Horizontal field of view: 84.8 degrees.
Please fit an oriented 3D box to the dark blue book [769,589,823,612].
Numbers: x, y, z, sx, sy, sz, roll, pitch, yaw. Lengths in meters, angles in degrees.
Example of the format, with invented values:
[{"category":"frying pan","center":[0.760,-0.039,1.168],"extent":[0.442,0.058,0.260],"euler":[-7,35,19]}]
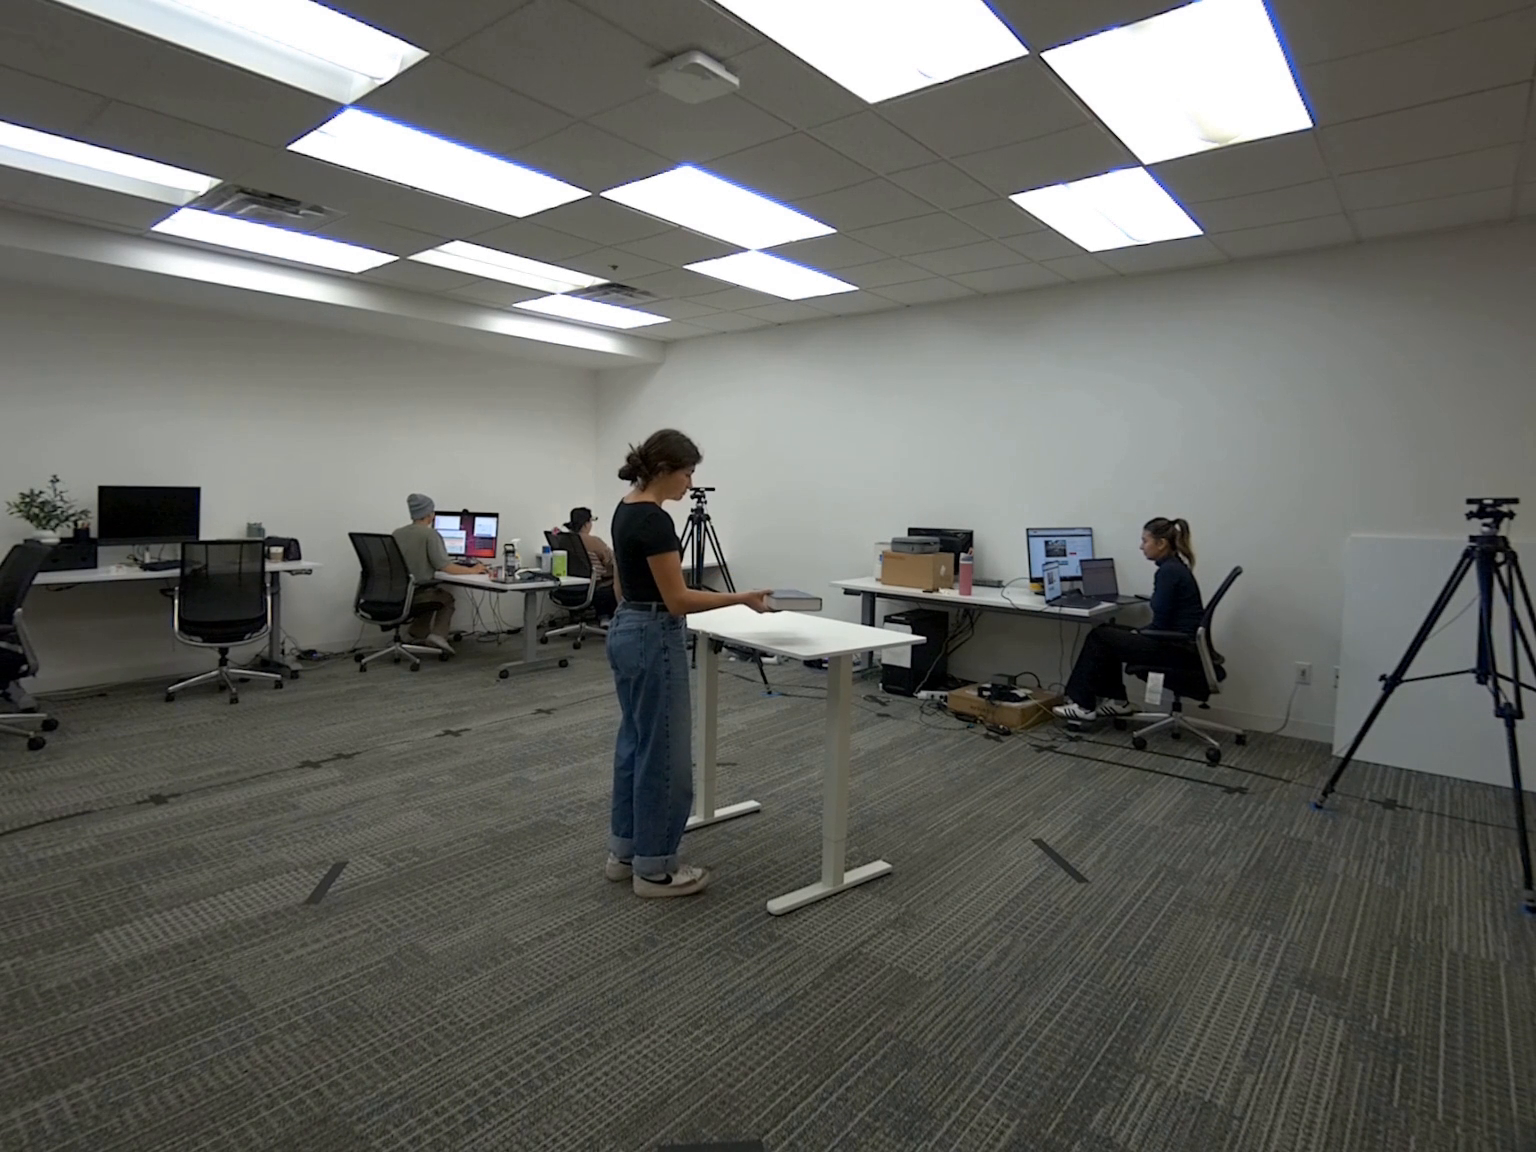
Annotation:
[{"category":"dark blue book","center":[0.060,0.084,2.868],"extent":[0.162,0.045,0.248],"euler":[2,5,-9]}]
